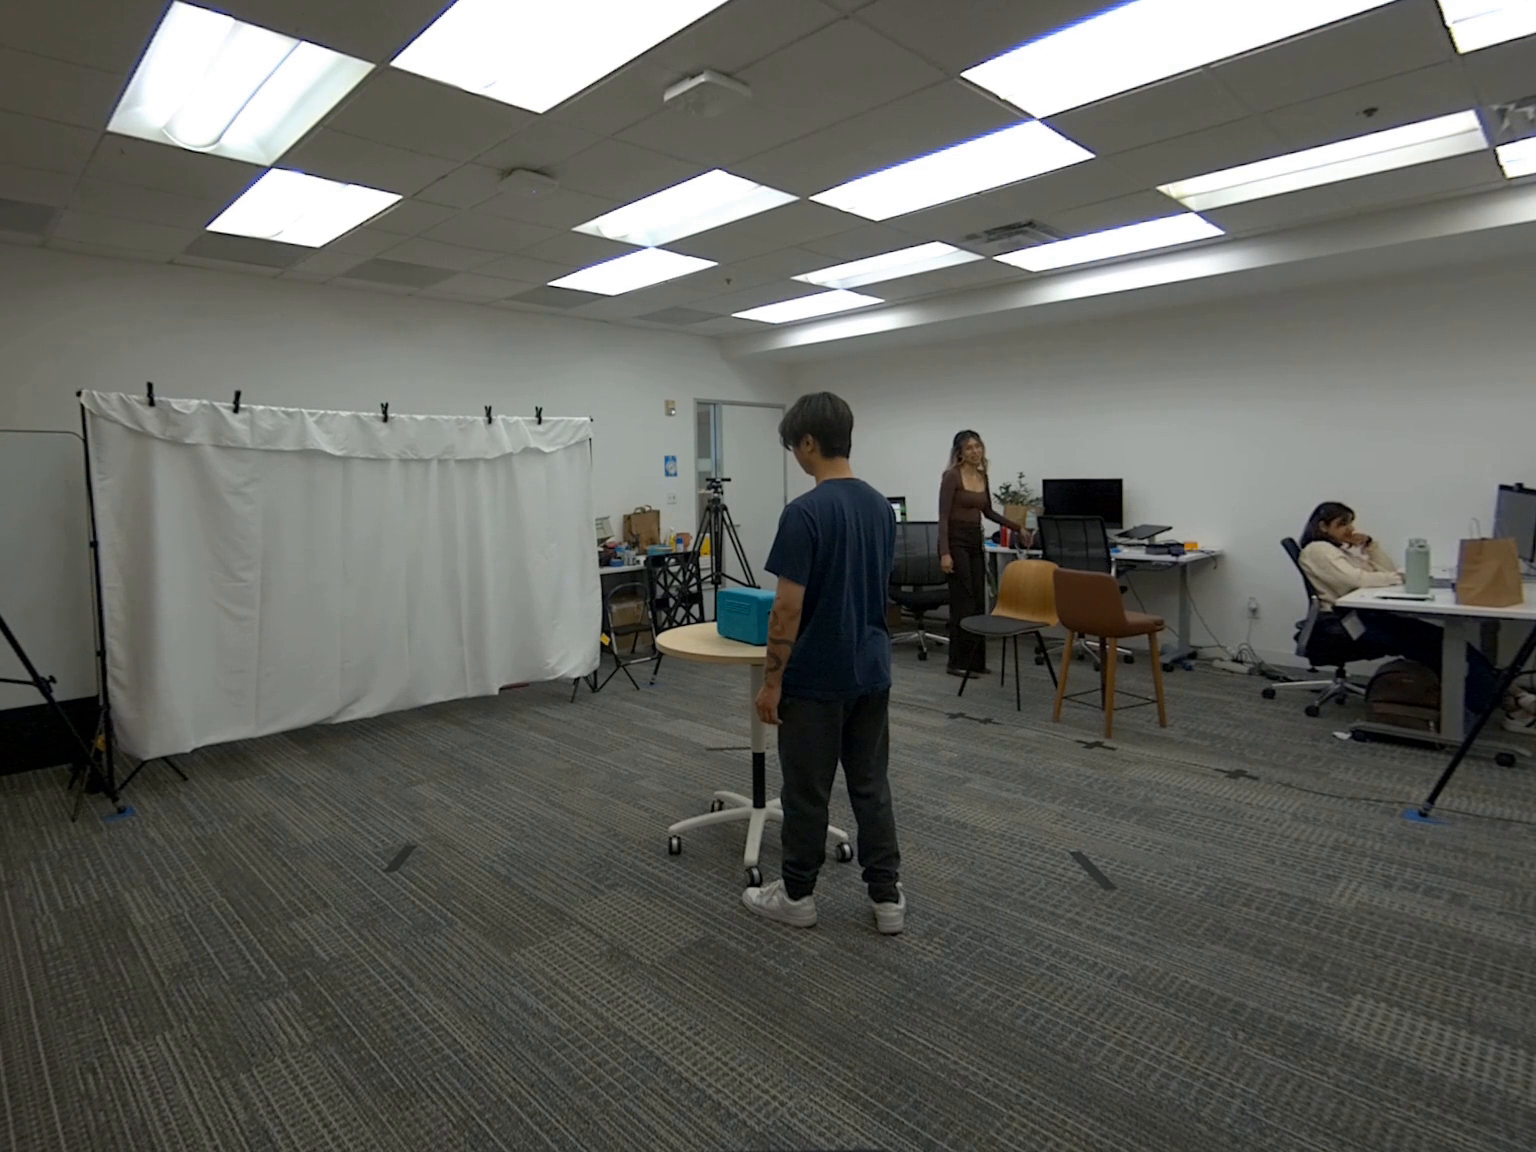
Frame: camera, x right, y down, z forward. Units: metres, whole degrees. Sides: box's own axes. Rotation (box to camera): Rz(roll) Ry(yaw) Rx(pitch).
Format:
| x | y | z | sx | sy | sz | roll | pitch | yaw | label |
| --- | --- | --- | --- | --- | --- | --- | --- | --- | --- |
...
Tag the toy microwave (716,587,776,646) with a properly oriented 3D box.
| x | y | z | sx | sy | sz | roll | pitch | yaw | label |
| --- | --- | --- | --- | --- | --- | --- | --- | --- | --- |
| -0.056 | 0.145 | 3.165 | 0.148 | 0.183 | 0.294 | -4 | 6 | -34 | toy microwave |
